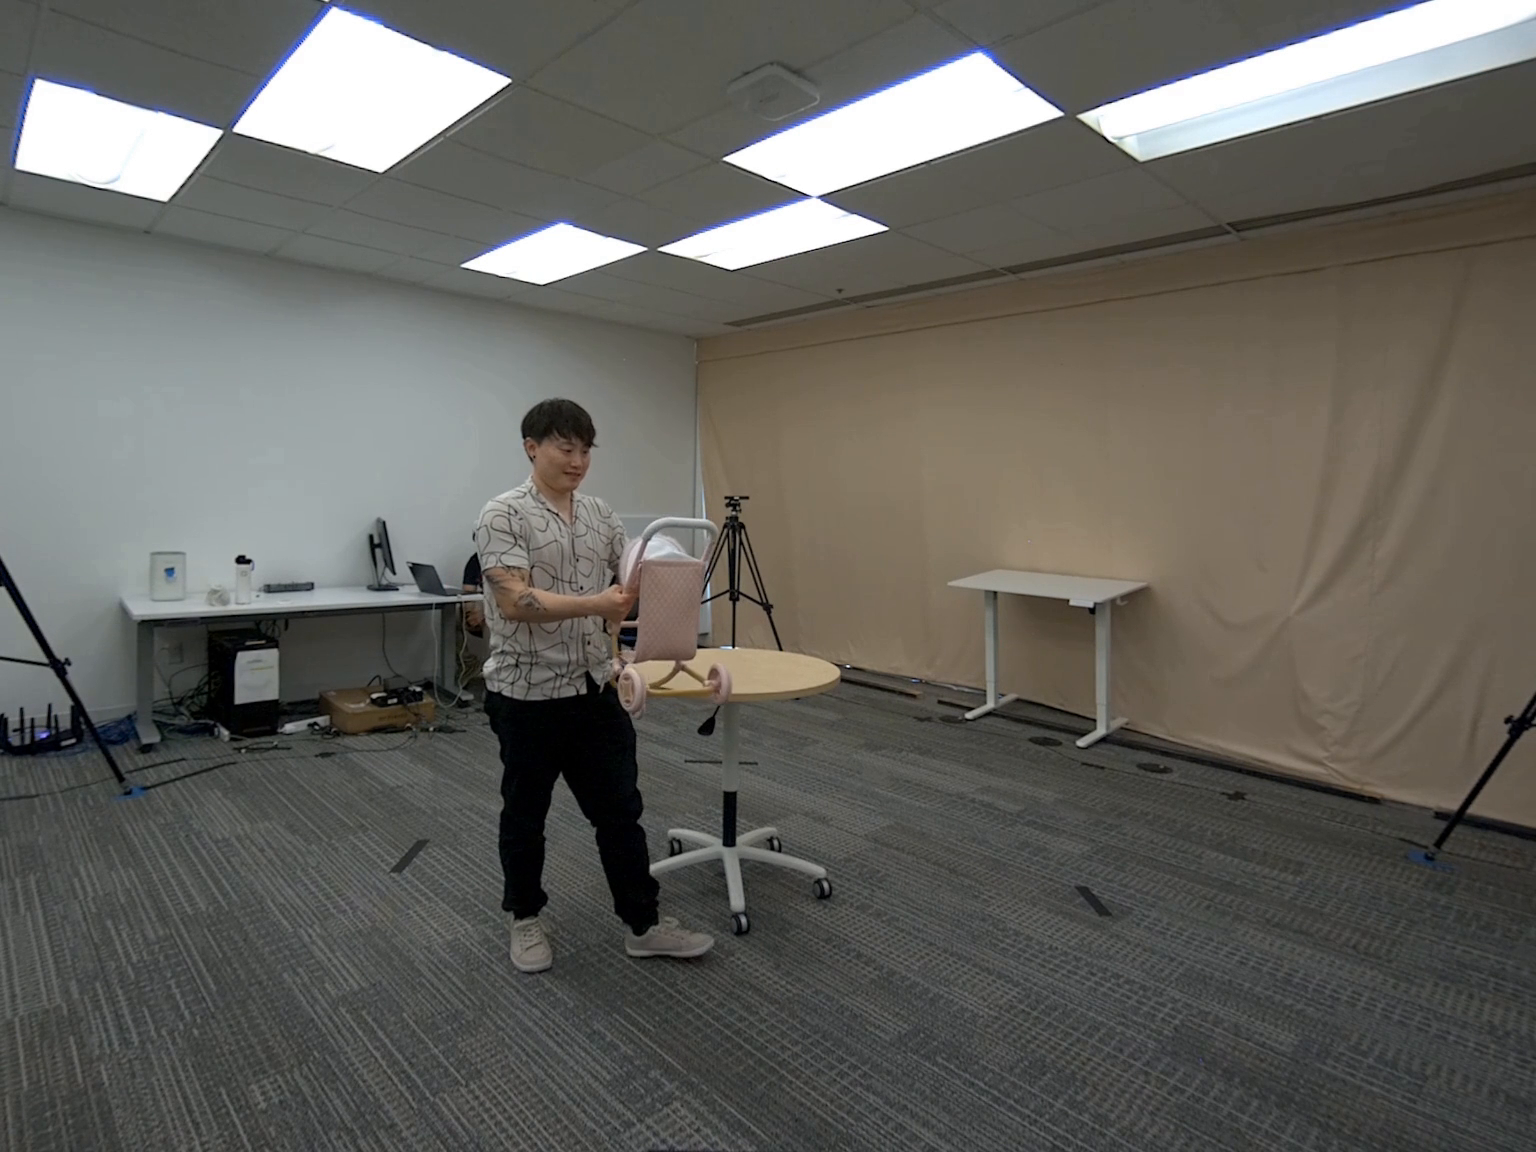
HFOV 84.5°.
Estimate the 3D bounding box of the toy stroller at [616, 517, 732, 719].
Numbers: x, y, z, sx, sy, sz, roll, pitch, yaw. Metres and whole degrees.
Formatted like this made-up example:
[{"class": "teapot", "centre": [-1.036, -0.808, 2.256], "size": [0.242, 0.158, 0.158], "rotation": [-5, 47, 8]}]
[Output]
[{"class": "toy stroller", "centre": [-0.291, 0.128, 2.206], "size": [0.276, 0.536, 0.348], "rotation": [1, -2, -30]}]
